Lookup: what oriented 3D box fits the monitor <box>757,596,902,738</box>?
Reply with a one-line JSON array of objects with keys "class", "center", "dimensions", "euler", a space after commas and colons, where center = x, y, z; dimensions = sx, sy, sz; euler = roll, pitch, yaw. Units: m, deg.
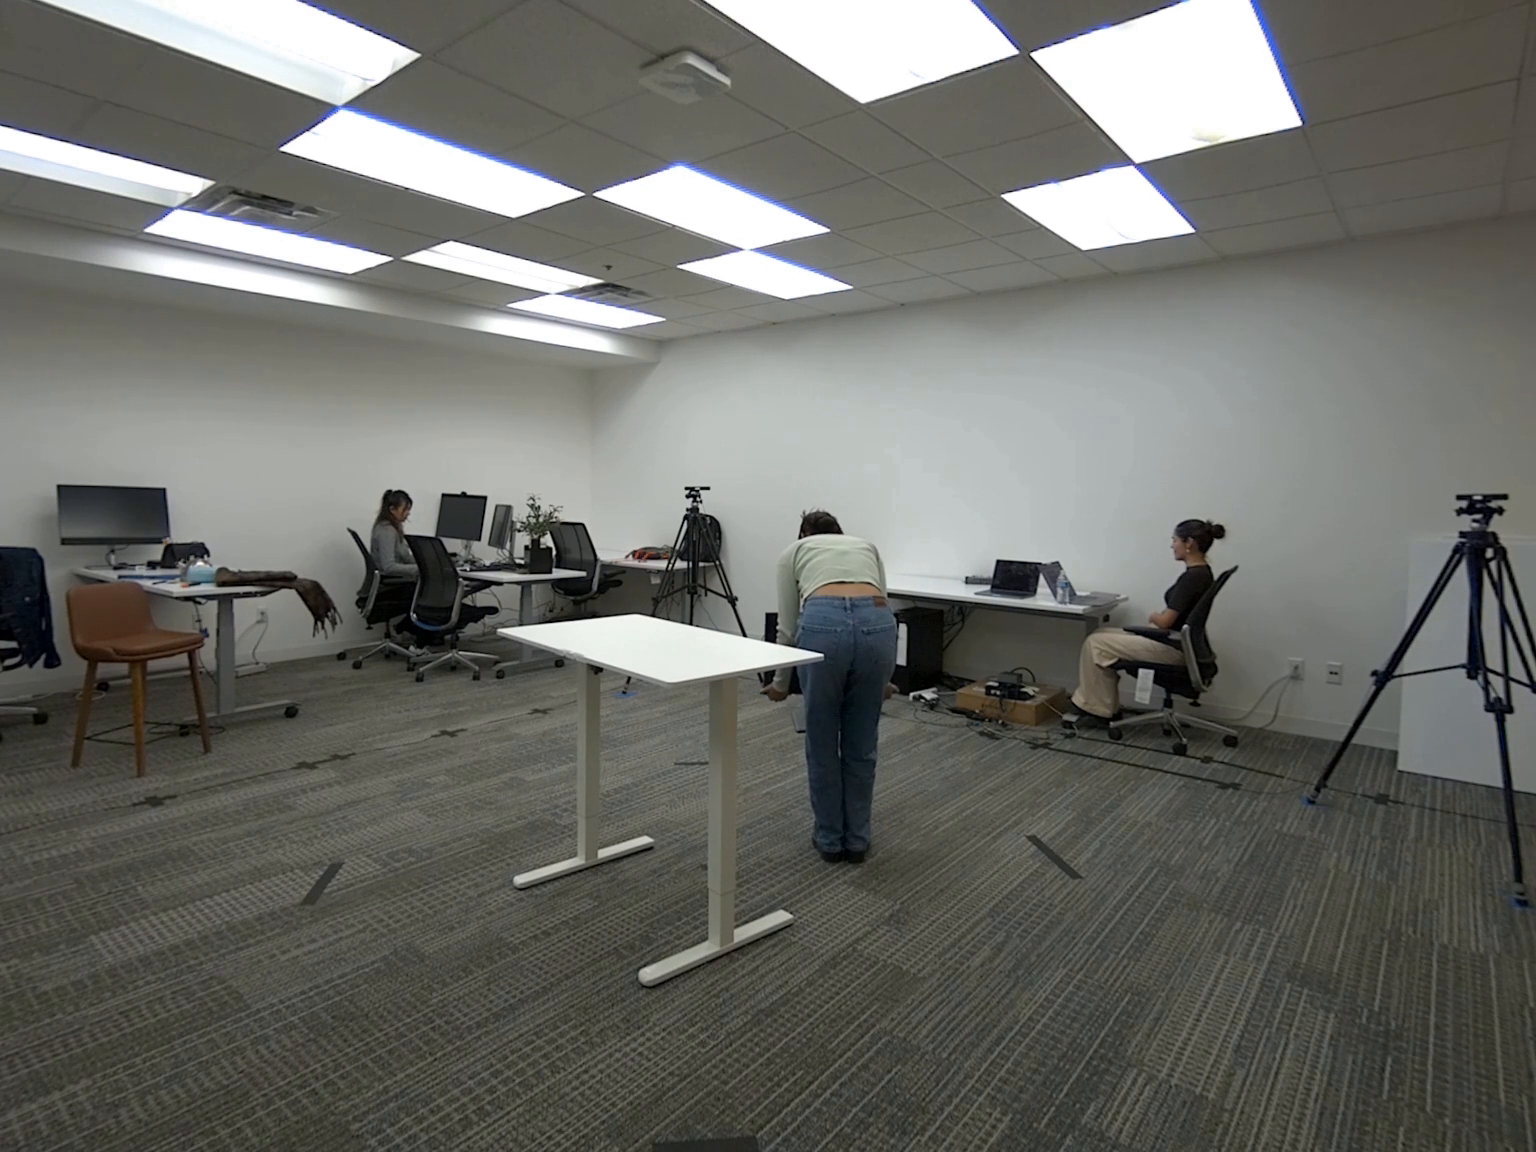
[{"class": "monitor", "center": [0.237, 0.372, 3.462], "dimensions": [0.536, 0.512, 0.192], "euler": [-2, 23, -5]}]
